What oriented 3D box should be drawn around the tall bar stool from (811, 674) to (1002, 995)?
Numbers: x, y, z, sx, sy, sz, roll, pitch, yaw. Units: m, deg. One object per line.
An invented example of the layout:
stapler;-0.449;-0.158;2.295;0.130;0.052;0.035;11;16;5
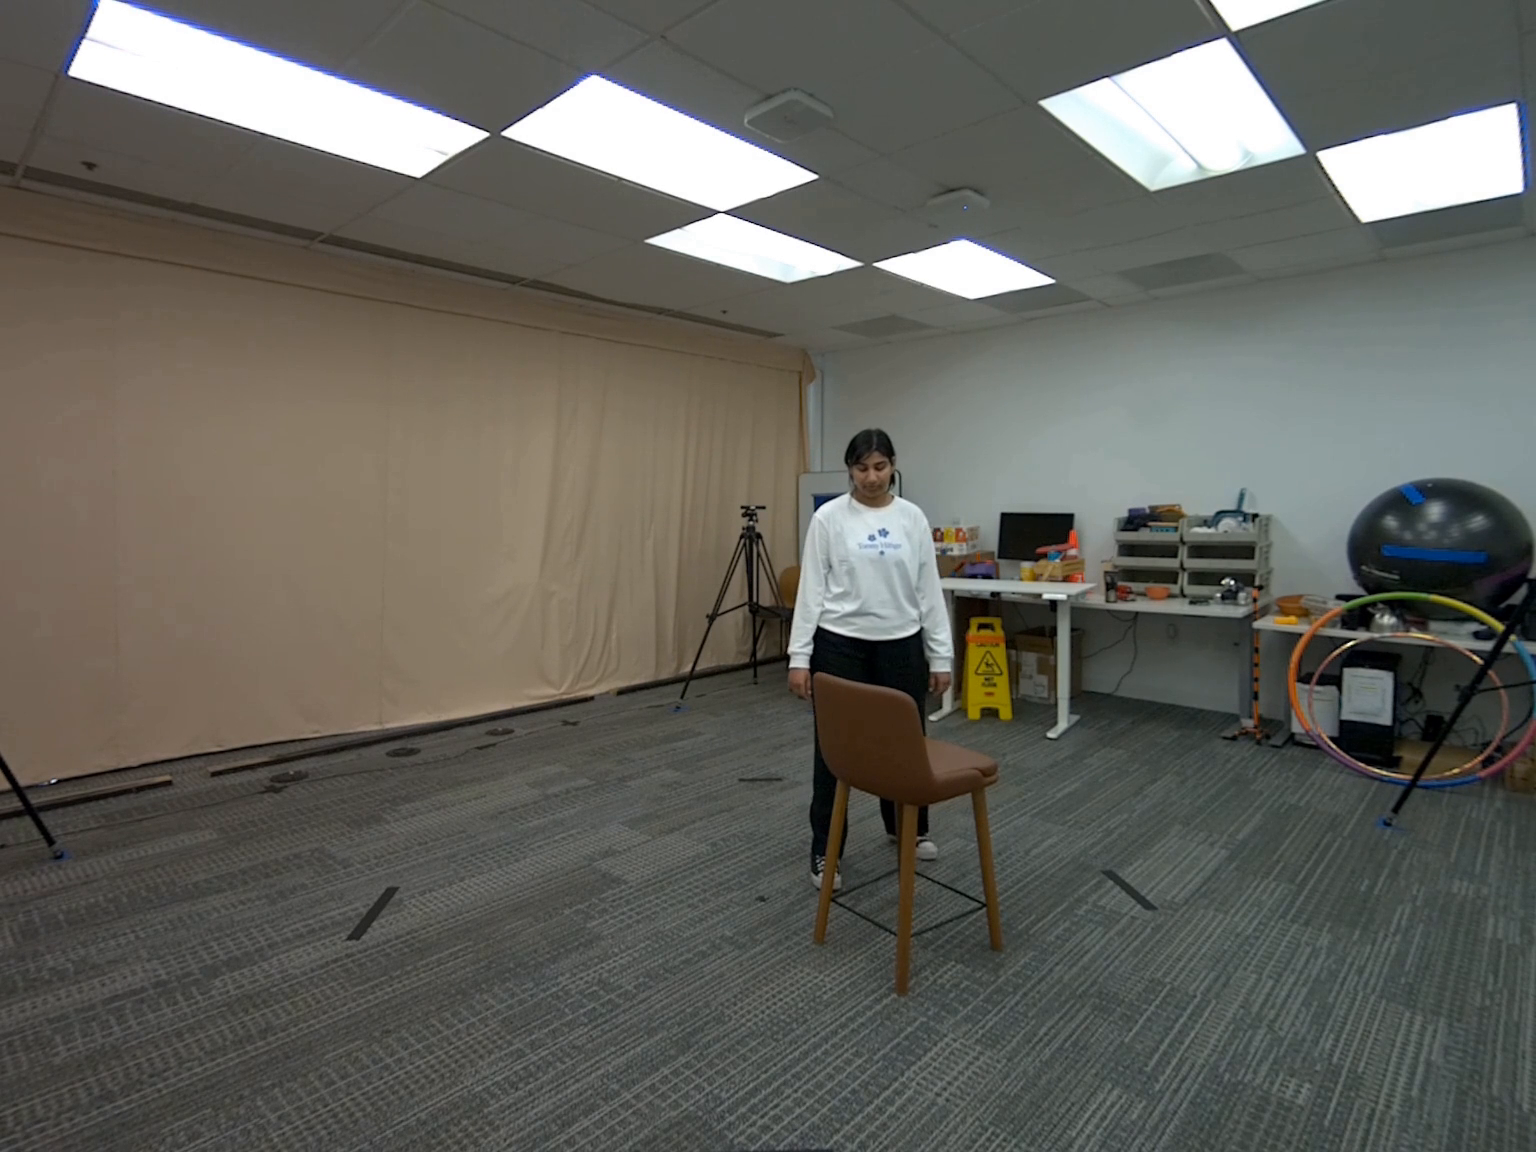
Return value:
tall bar stool;0.435;0.735;2.646;0.454;0.887;0.471;-5;5;-38
